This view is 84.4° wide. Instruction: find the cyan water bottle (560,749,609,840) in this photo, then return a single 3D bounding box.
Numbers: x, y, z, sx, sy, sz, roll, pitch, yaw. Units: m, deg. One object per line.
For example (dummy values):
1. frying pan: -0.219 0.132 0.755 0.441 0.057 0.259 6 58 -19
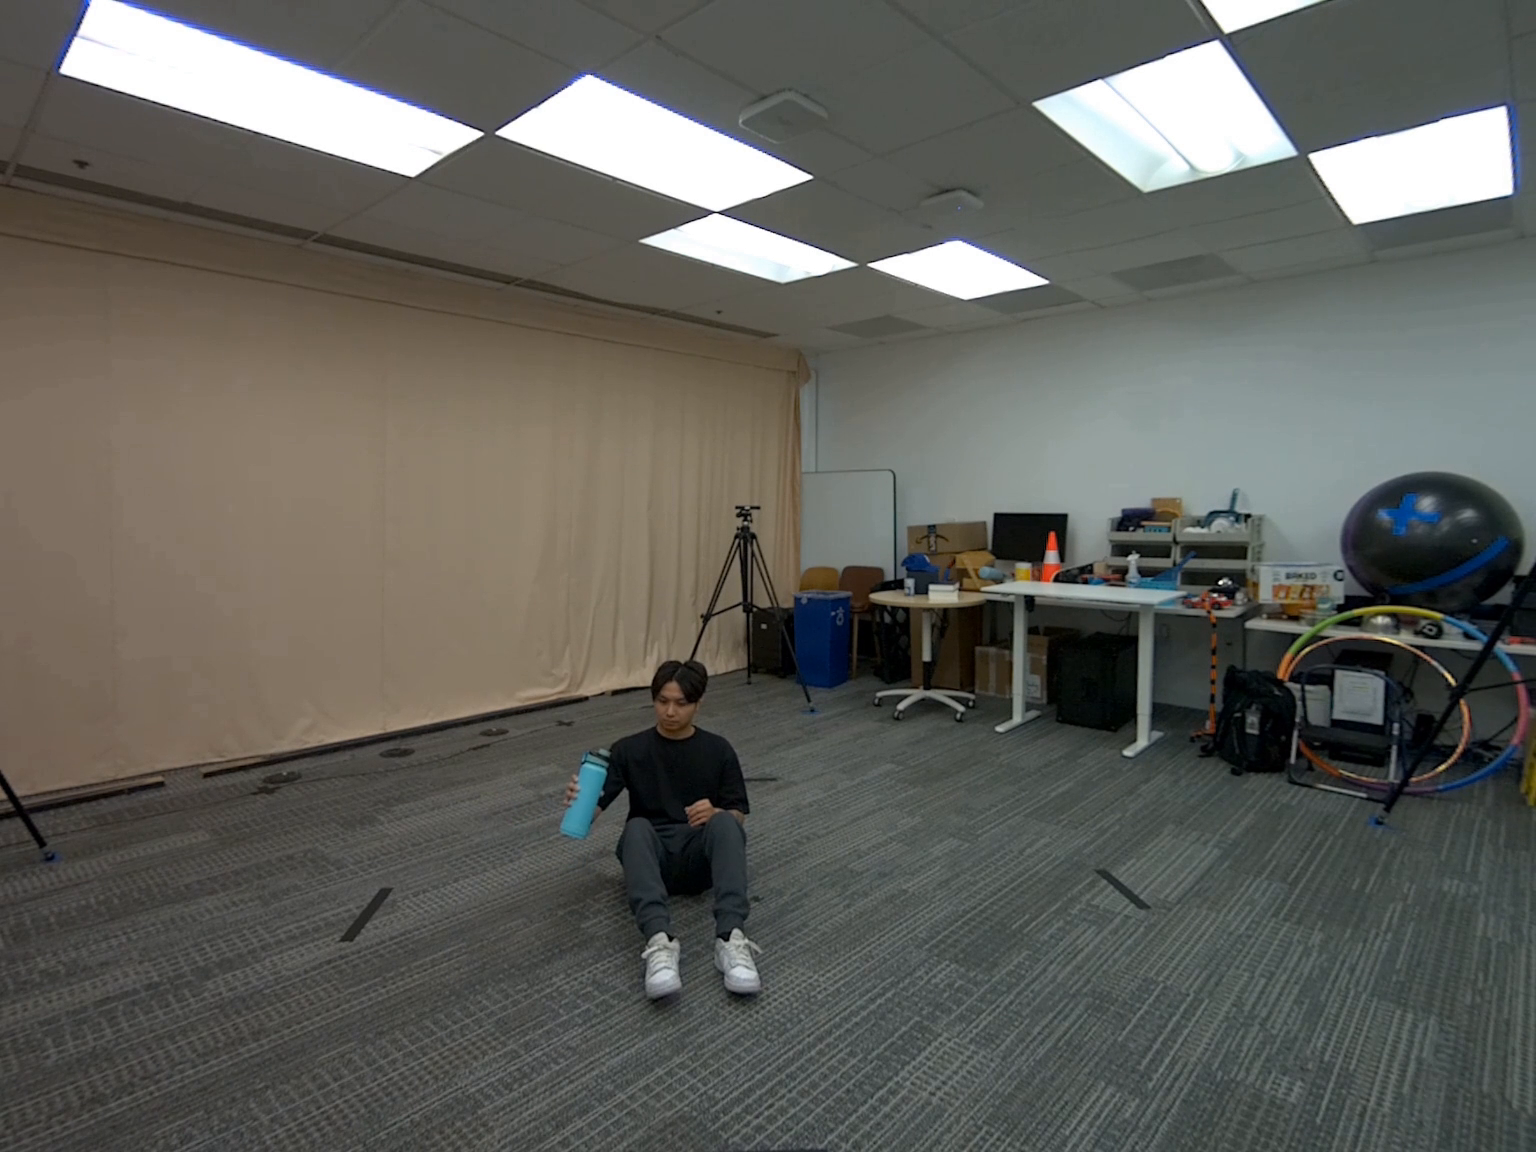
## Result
1. cyan water bottle: -0.587 0.705 2.741 0.093 0.285 0.091 14 -19 3
